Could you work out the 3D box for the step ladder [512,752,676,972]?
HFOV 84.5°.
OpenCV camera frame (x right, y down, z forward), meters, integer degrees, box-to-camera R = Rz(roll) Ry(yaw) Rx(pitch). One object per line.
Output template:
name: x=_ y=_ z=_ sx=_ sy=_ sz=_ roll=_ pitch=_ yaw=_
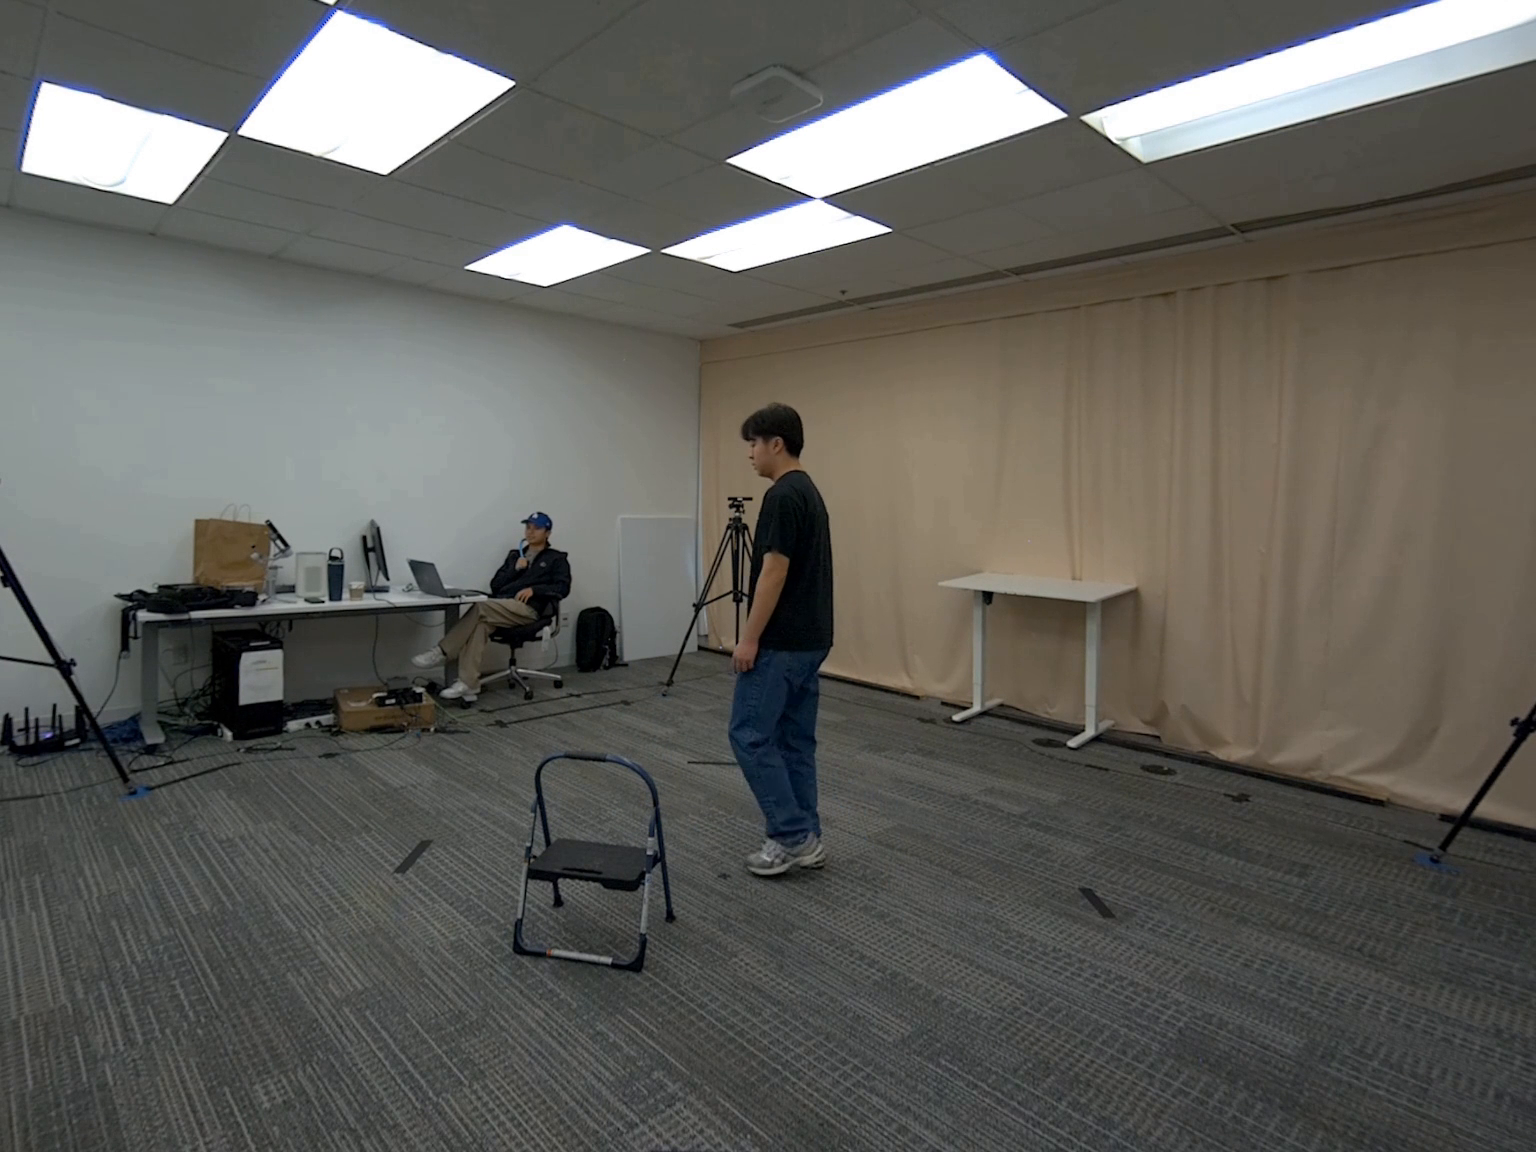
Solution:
step ladder: x=-0.541 y=0.840 z=2.649 sx=0.434 sy=0.605 sz=0.347 roll=1 pitch=3 yaw=10
